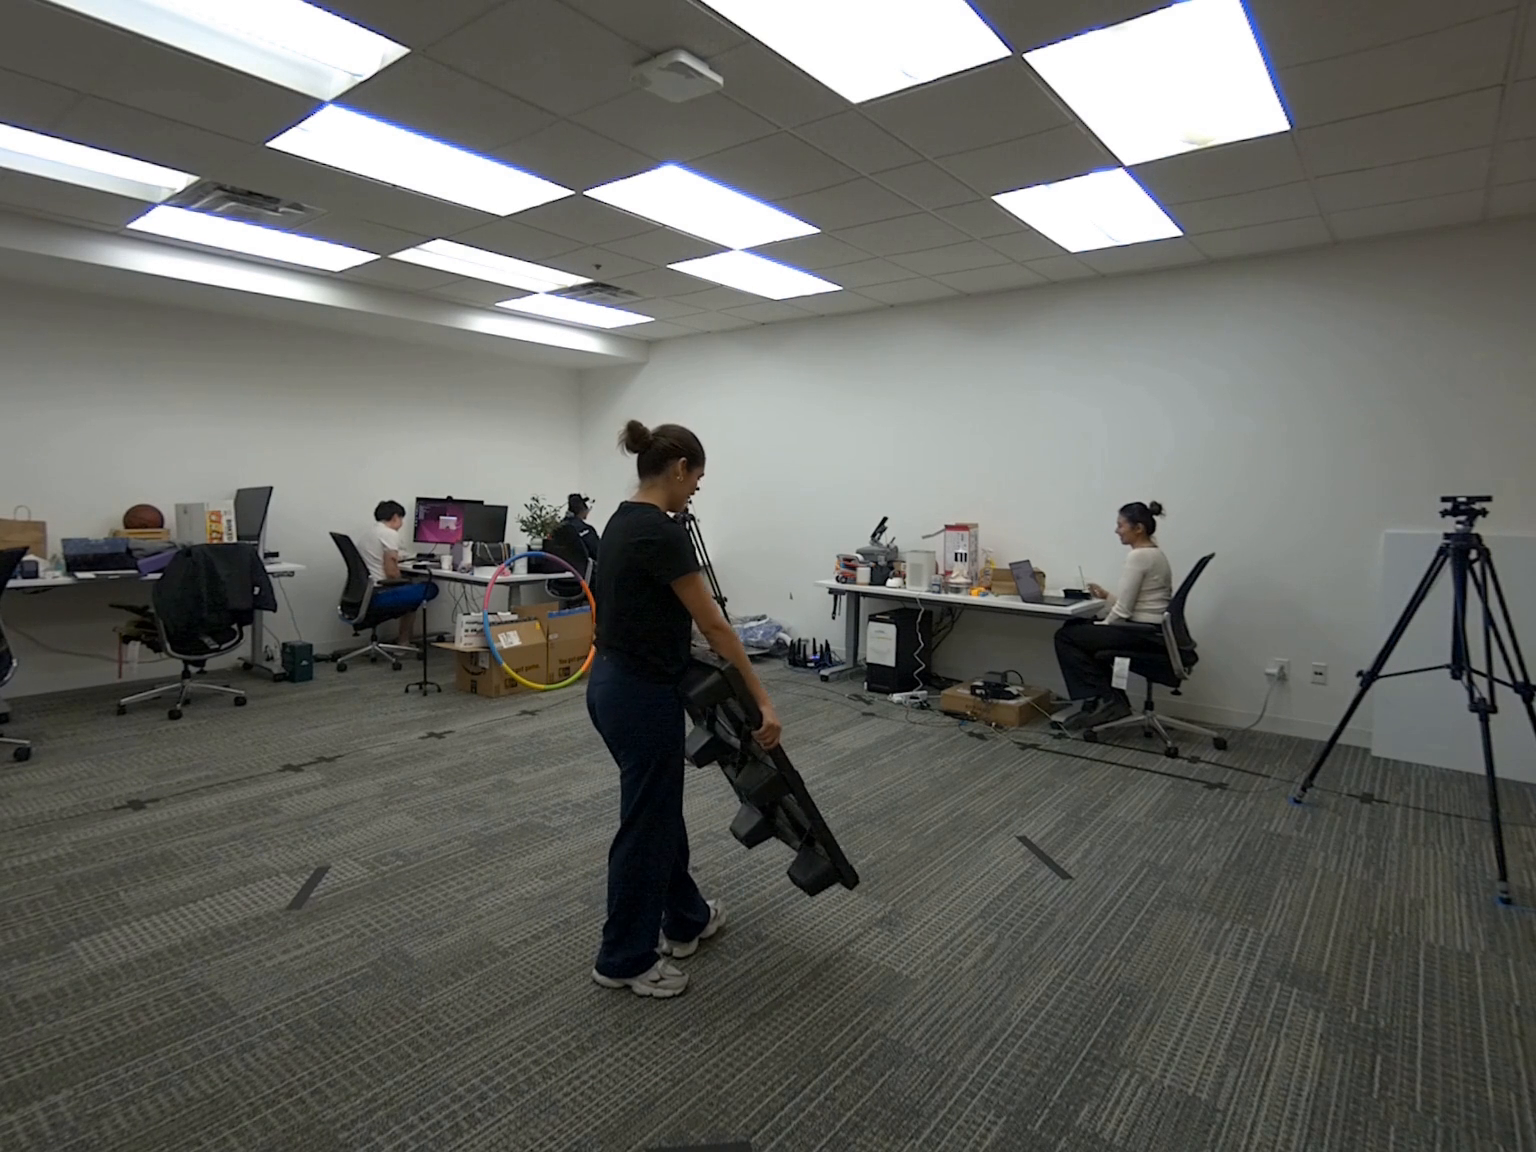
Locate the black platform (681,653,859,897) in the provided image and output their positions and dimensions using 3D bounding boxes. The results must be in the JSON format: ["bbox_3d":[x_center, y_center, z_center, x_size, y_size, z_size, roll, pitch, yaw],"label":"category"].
[{"bbox_3d":[-0.094,0.552,2.575,0.142,0.790,0.621,-34,17,-22],"label":"black platform"}]
